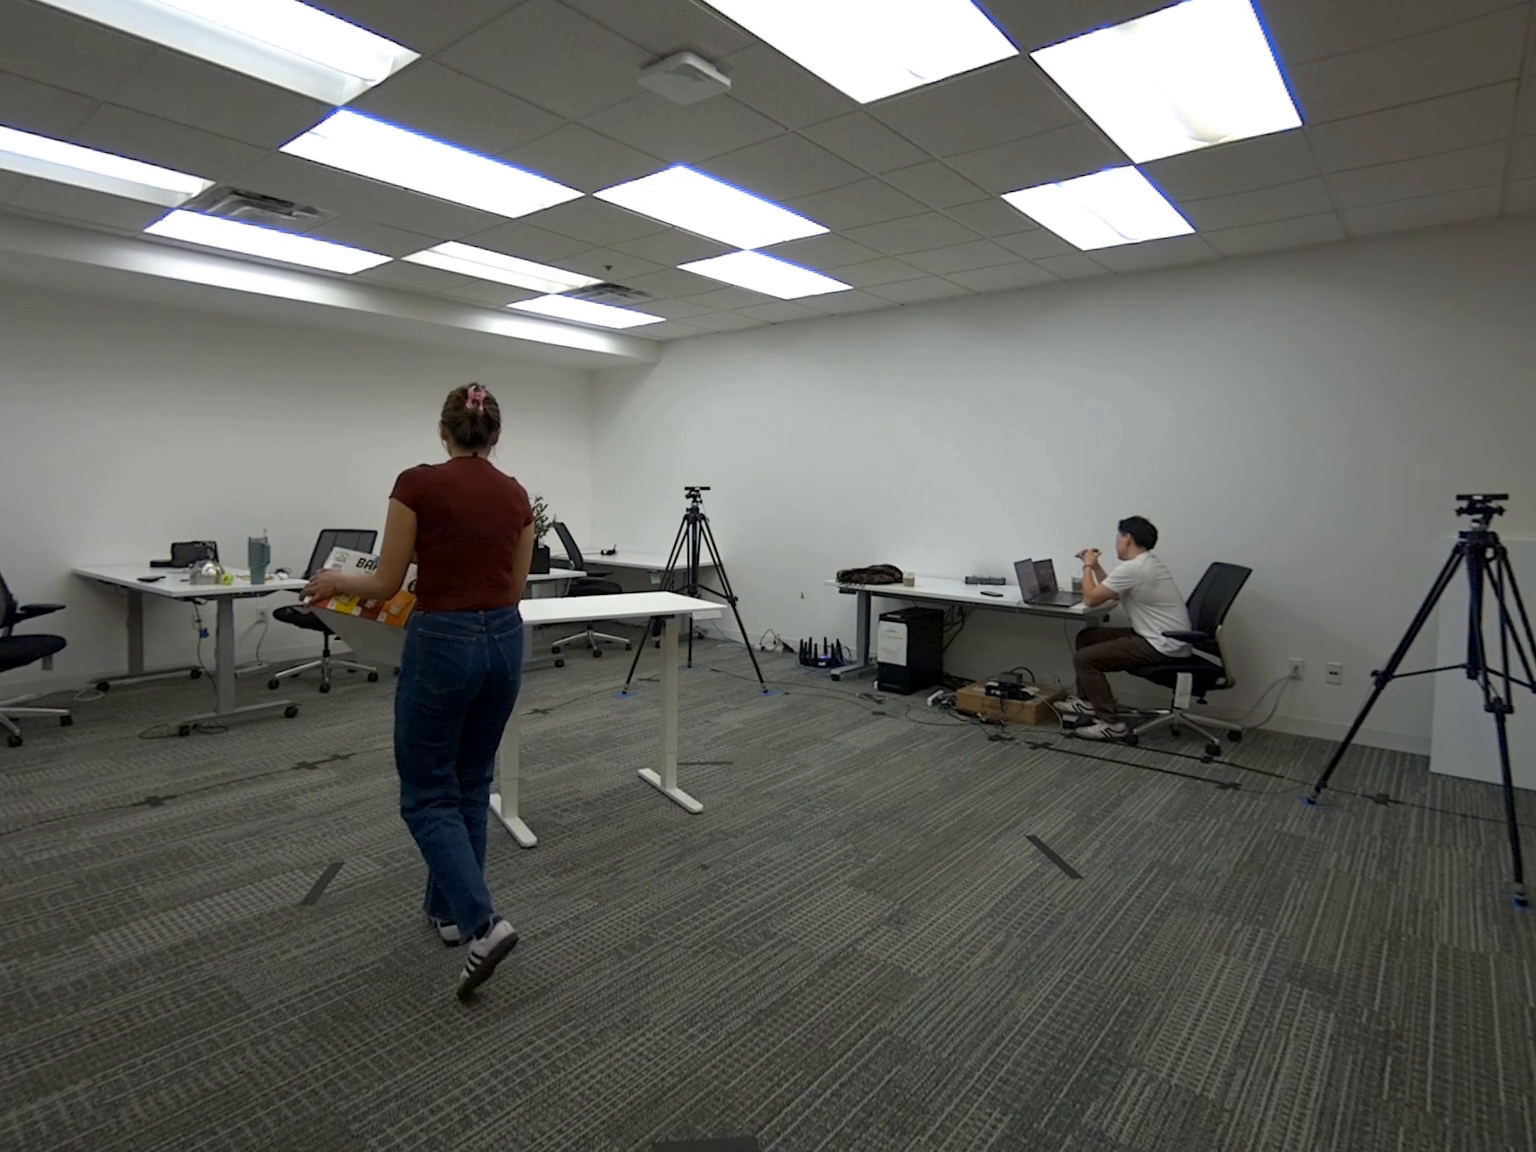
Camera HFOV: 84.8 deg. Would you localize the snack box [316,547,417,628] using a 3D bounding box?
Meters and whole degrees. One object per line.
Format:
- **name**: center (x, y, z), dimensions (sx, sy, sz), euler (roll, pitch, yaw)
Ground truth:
- **snack box**: center (-1.219, 0.123, 2.705), dimensions (0.345, 0.209, 0.394), euler (12, -29, 9)
